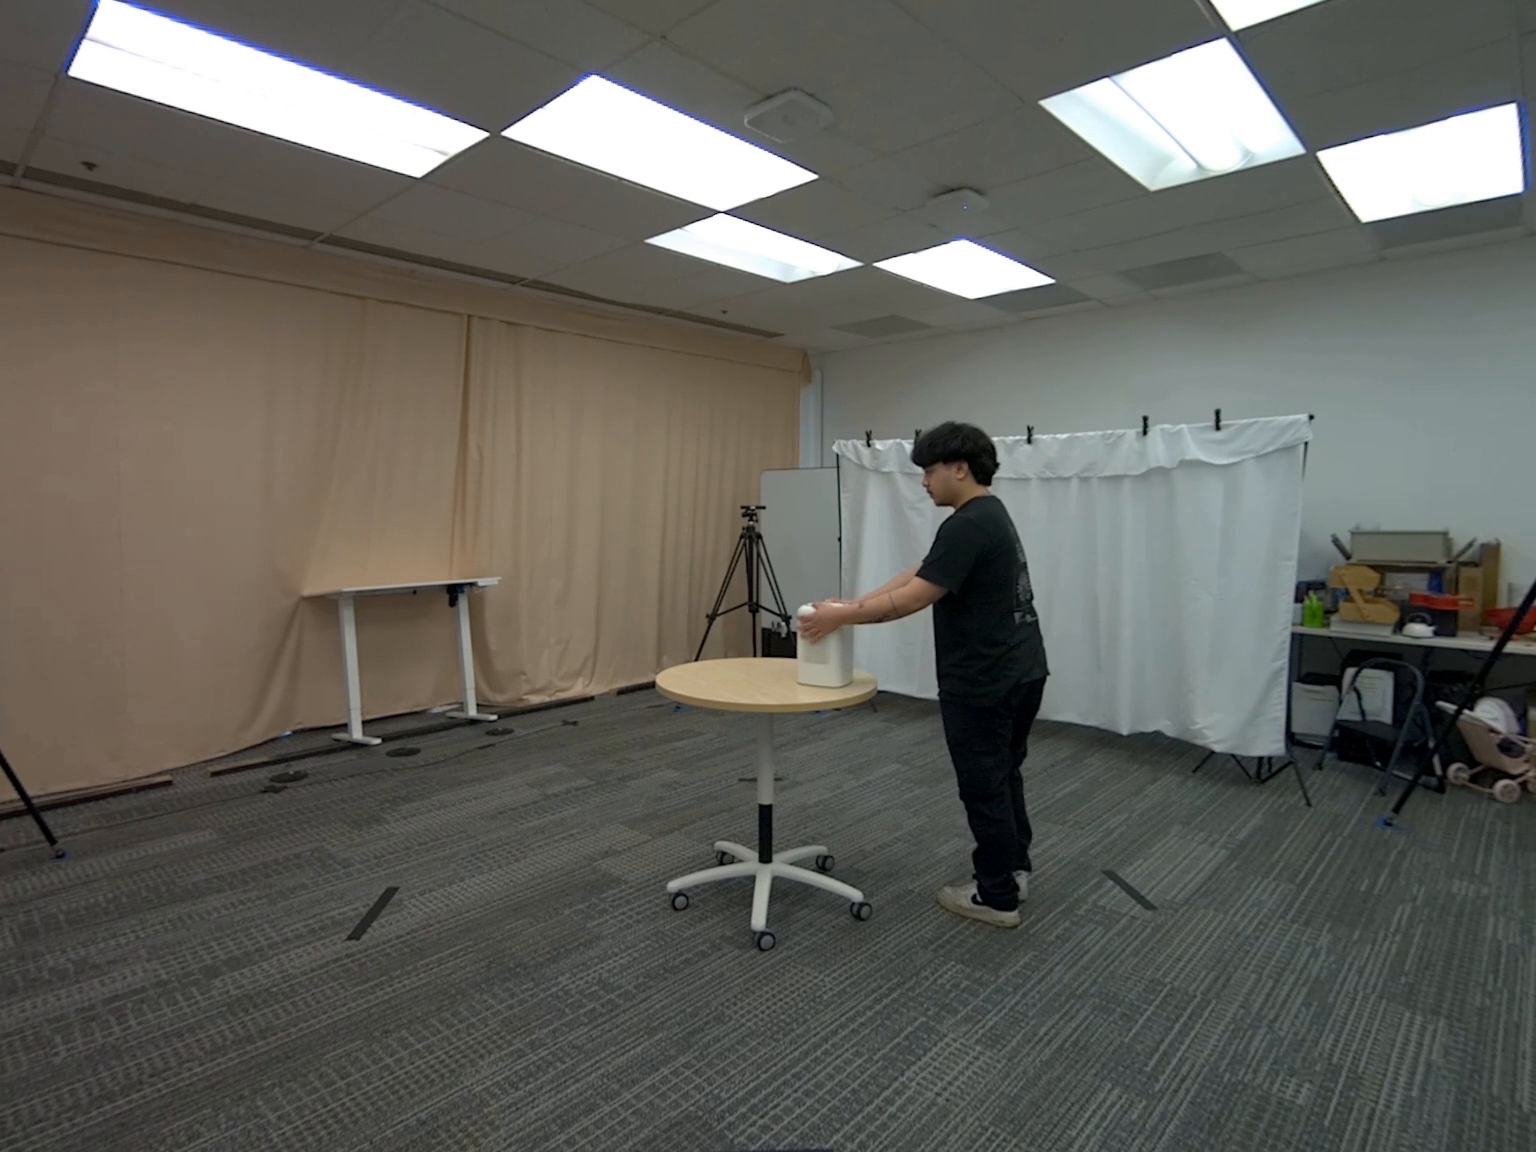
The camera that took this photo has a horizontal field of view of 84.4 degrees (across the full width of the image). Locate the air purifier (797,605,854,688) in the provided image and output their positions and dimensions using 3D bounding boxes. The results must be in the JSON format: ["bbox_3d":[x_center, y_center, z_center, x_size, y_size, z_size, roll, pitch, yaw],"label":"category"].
[{"bbox_3d":[0.204,0.234,2.864,0.176,0.265,0.167,3,5,27],"label":"air purifier"}]
